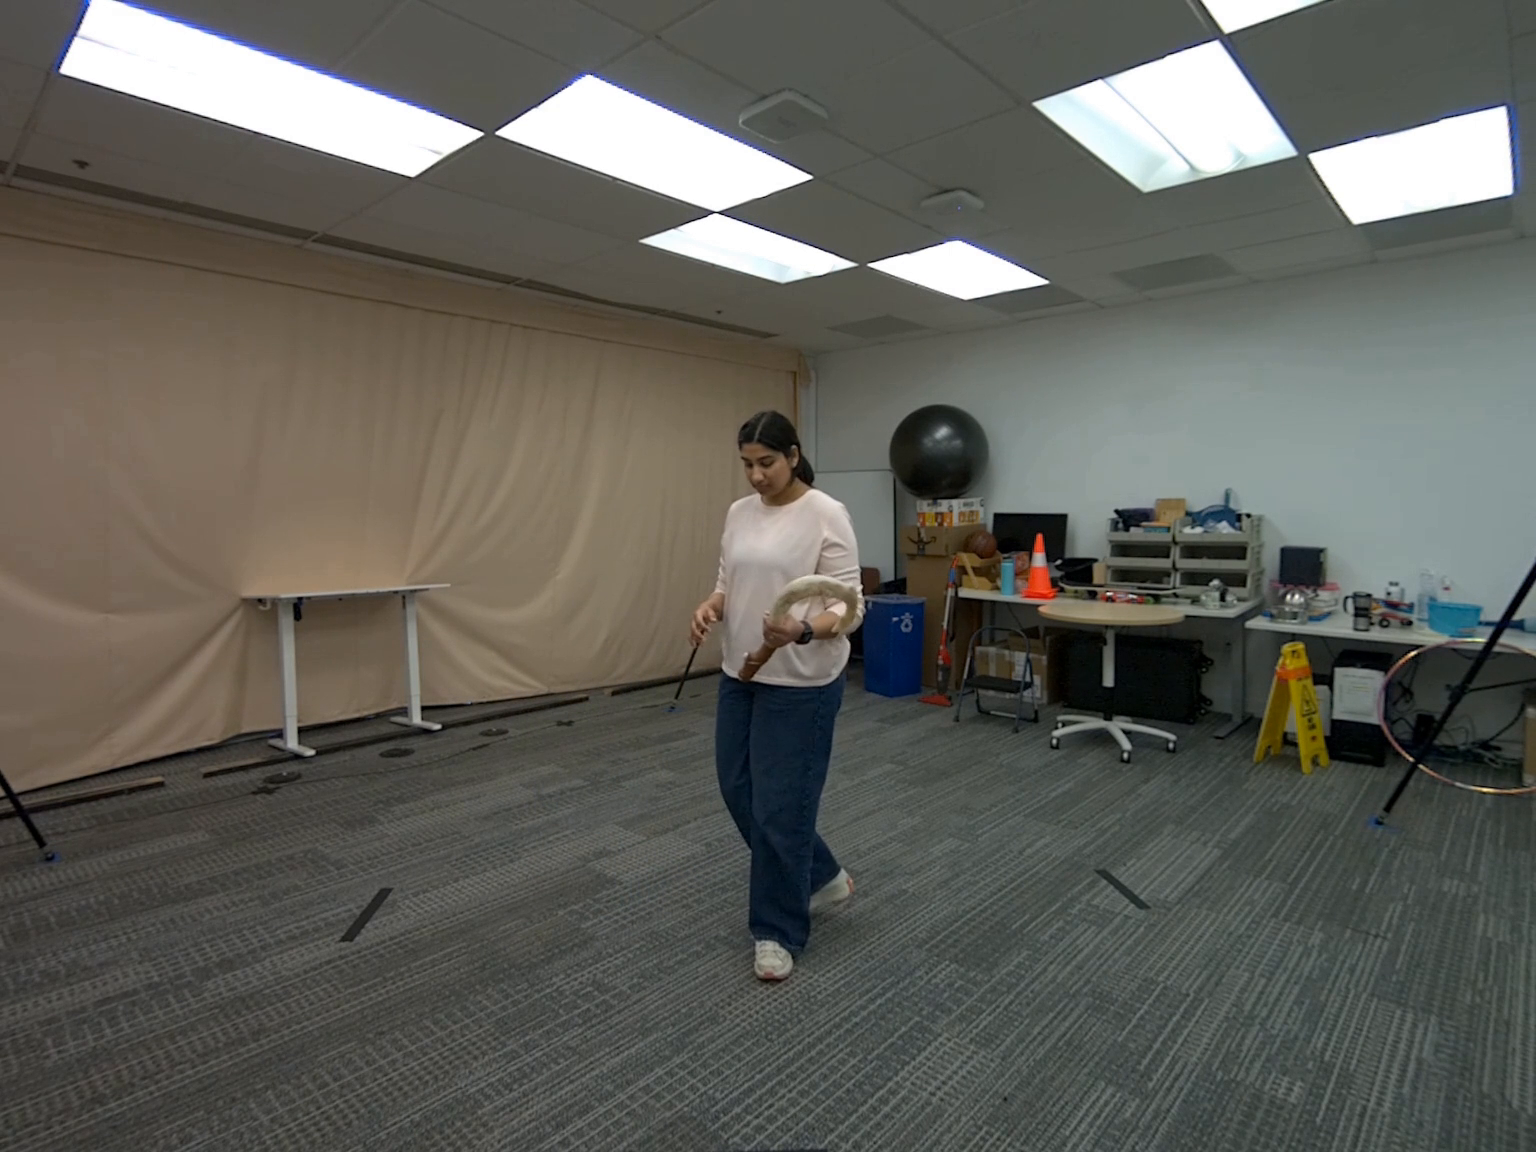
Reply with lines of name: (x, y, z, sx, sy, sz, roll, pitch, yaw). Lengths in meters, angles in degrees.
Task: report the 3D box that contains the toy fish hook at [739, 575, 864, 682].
toy fish hook: (0.072, 0.160, 2.254, 0.221, 0.049, 0.506, 19, -42, -12)
